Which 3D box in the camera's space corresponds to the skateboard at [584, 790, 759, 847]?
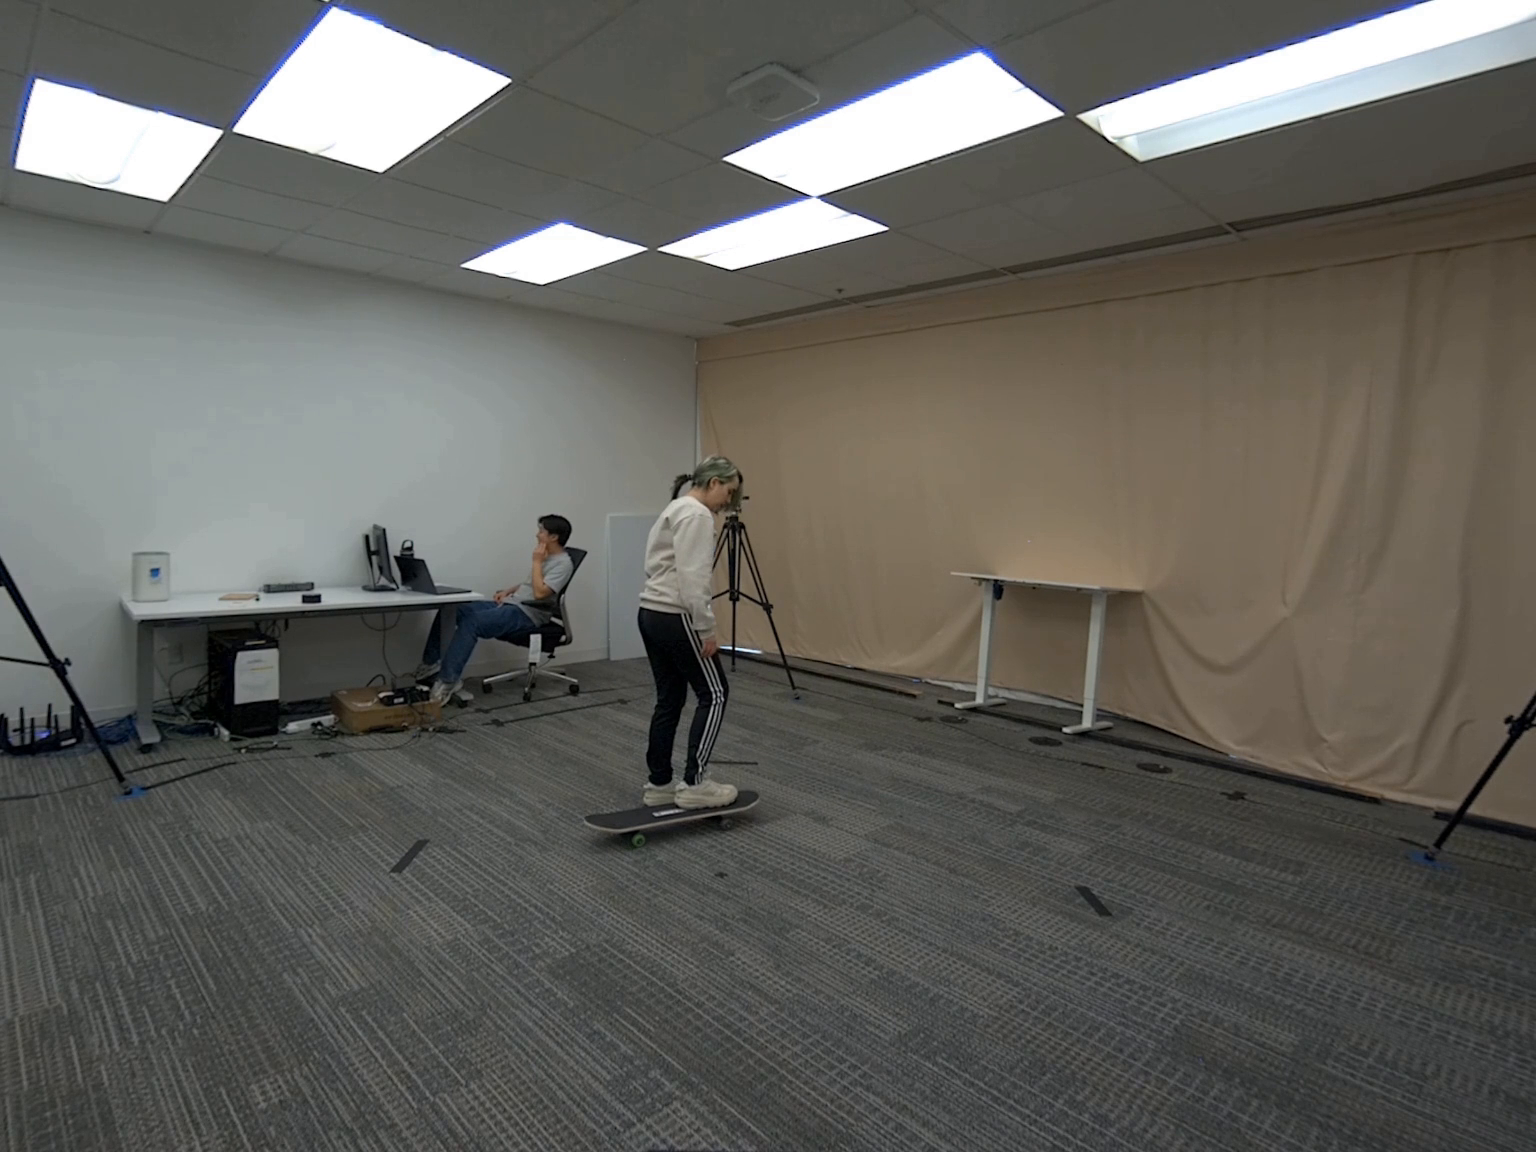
[{"bbox_3d":[-0.396,1.011,3.499,0.769,0.110,0.198,-1,4,-31],"label":"skateboard"}]
